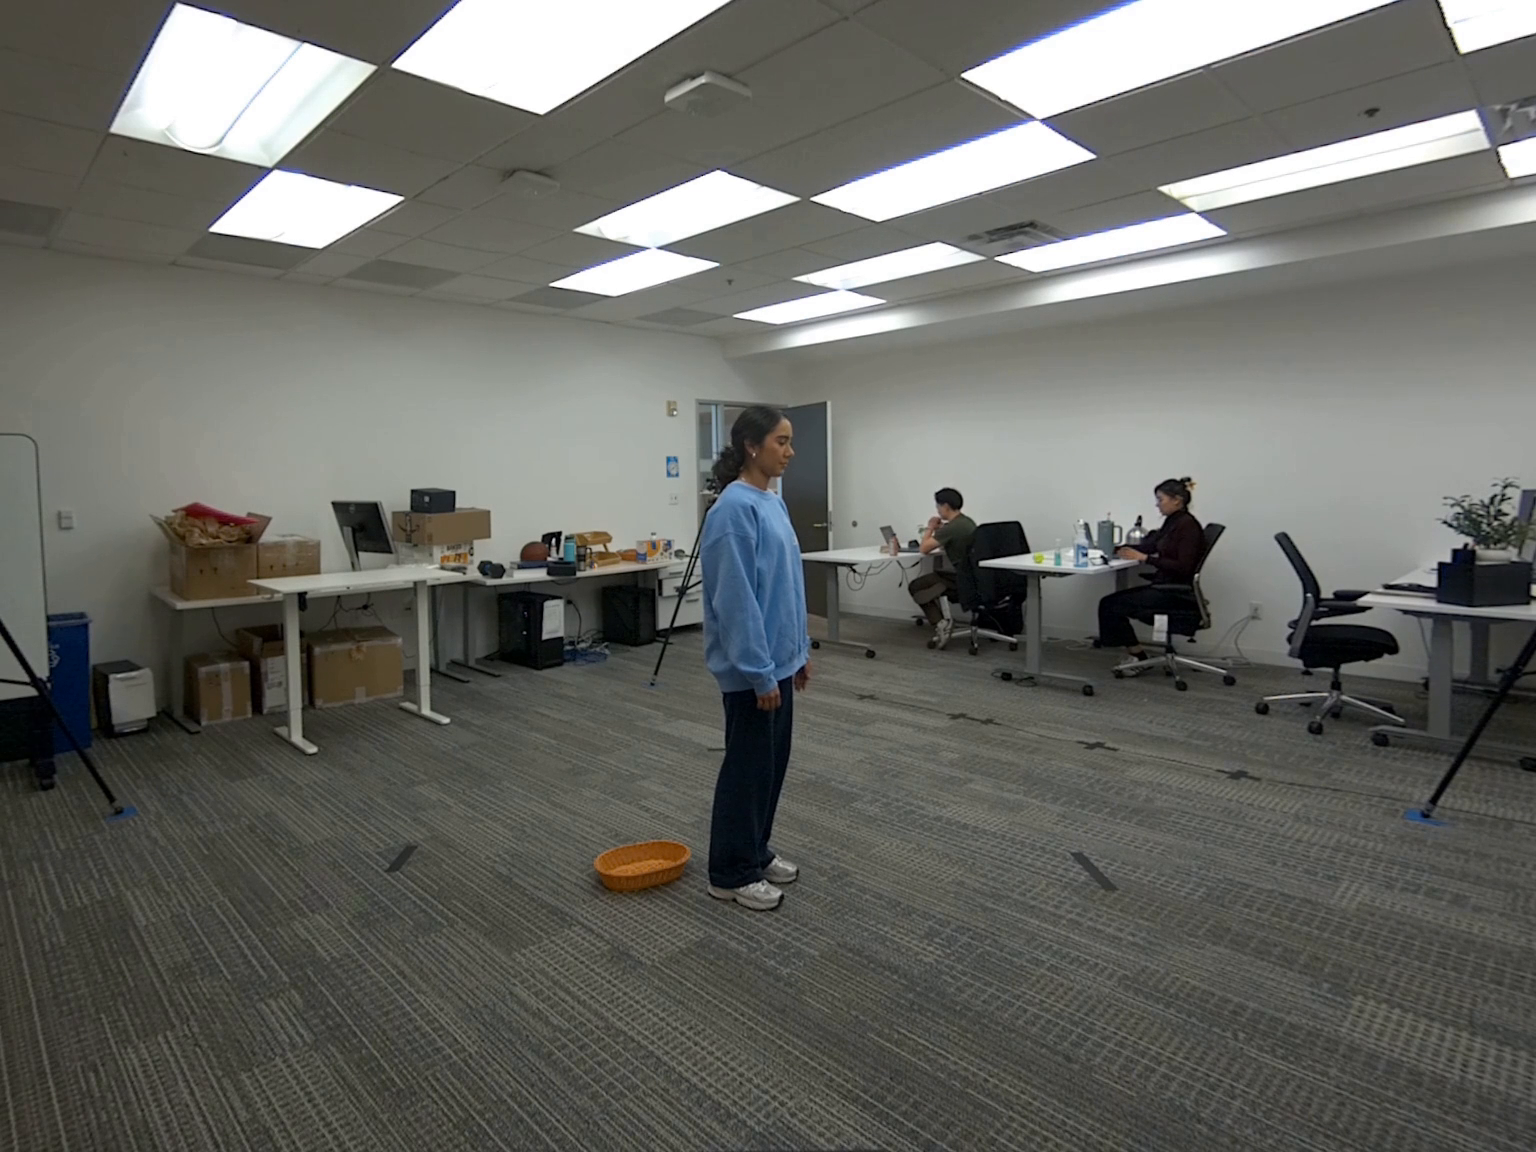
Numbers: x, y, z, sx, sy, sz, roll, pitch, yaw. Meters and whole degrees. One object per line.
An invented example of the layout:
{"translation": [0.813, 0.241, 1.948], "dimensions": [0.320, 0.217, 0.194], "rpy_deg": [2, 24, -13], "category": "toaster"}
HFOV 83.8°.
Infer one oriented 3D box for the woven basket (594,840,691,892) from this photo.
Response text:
{"translation": [-0.435, 1.024, 3.012], "dimensions": [0.343, 0.073, 0.259], "rpy_deg": [-5, 6, -26], "category": "woven basket"}
